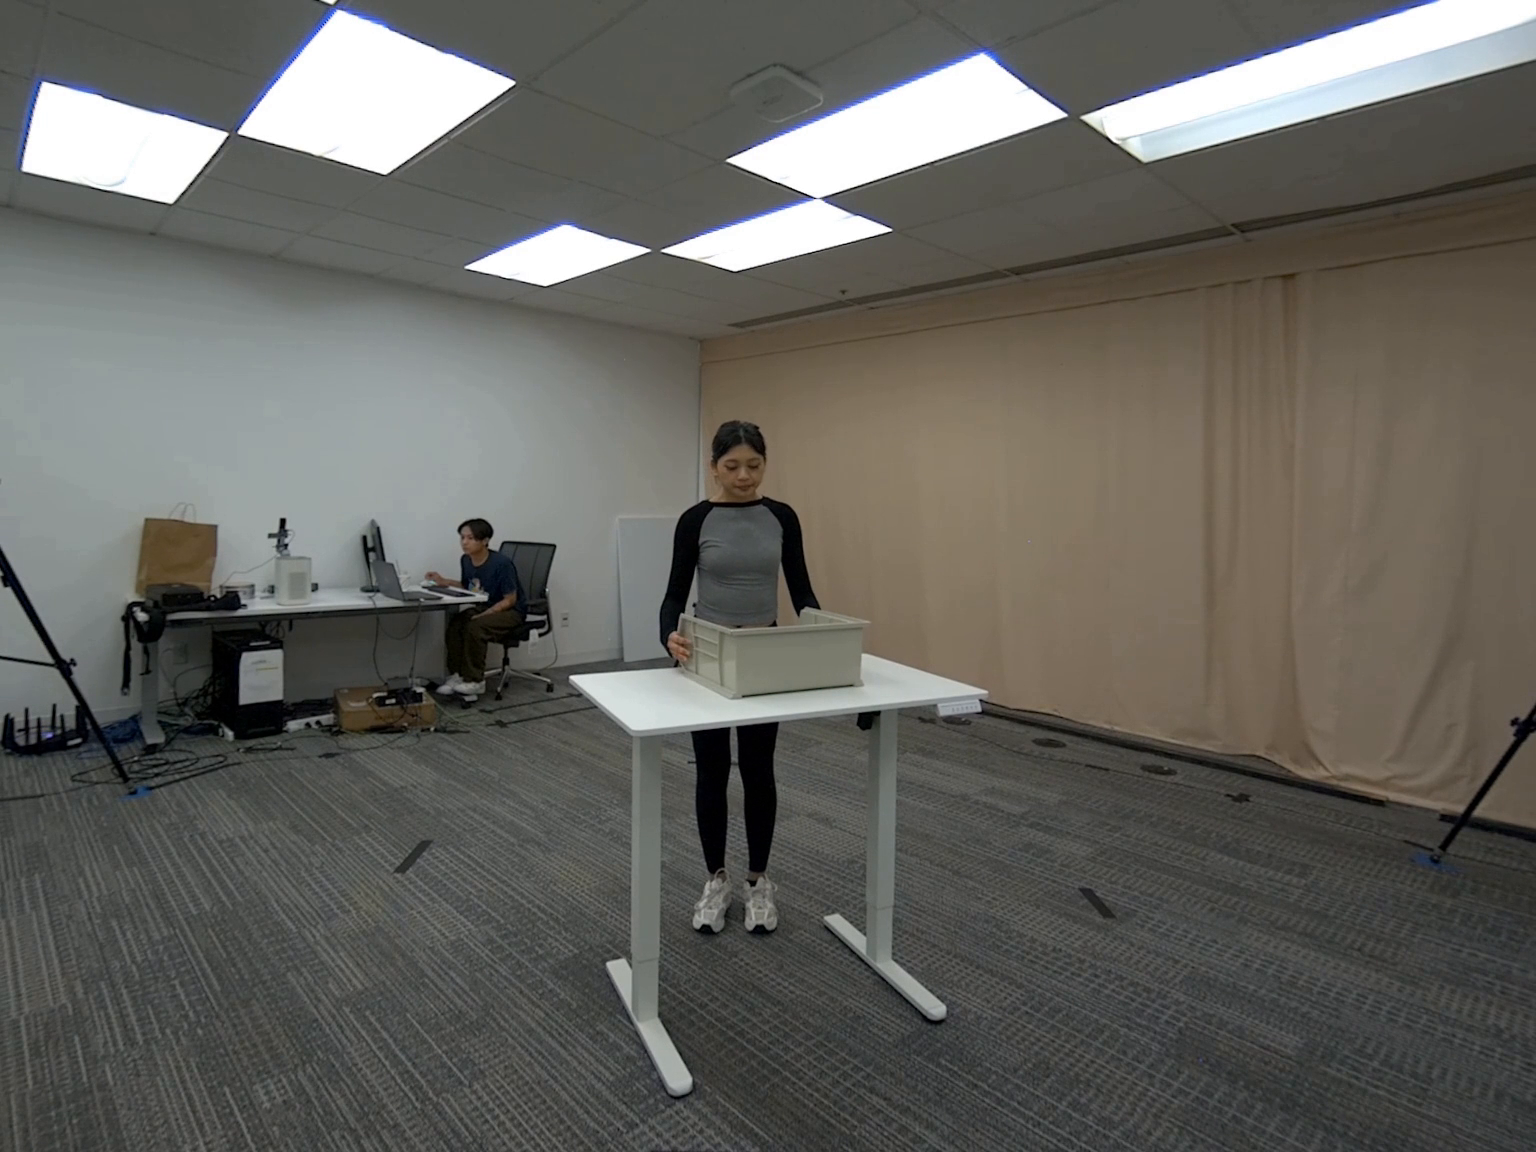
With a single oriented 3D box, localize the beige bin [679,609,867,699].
[{"bbox_3d":[-0.003,0.208,2.369,0.414,0.188,0.386,-1,7,-28],"label":"beige bin"}]
